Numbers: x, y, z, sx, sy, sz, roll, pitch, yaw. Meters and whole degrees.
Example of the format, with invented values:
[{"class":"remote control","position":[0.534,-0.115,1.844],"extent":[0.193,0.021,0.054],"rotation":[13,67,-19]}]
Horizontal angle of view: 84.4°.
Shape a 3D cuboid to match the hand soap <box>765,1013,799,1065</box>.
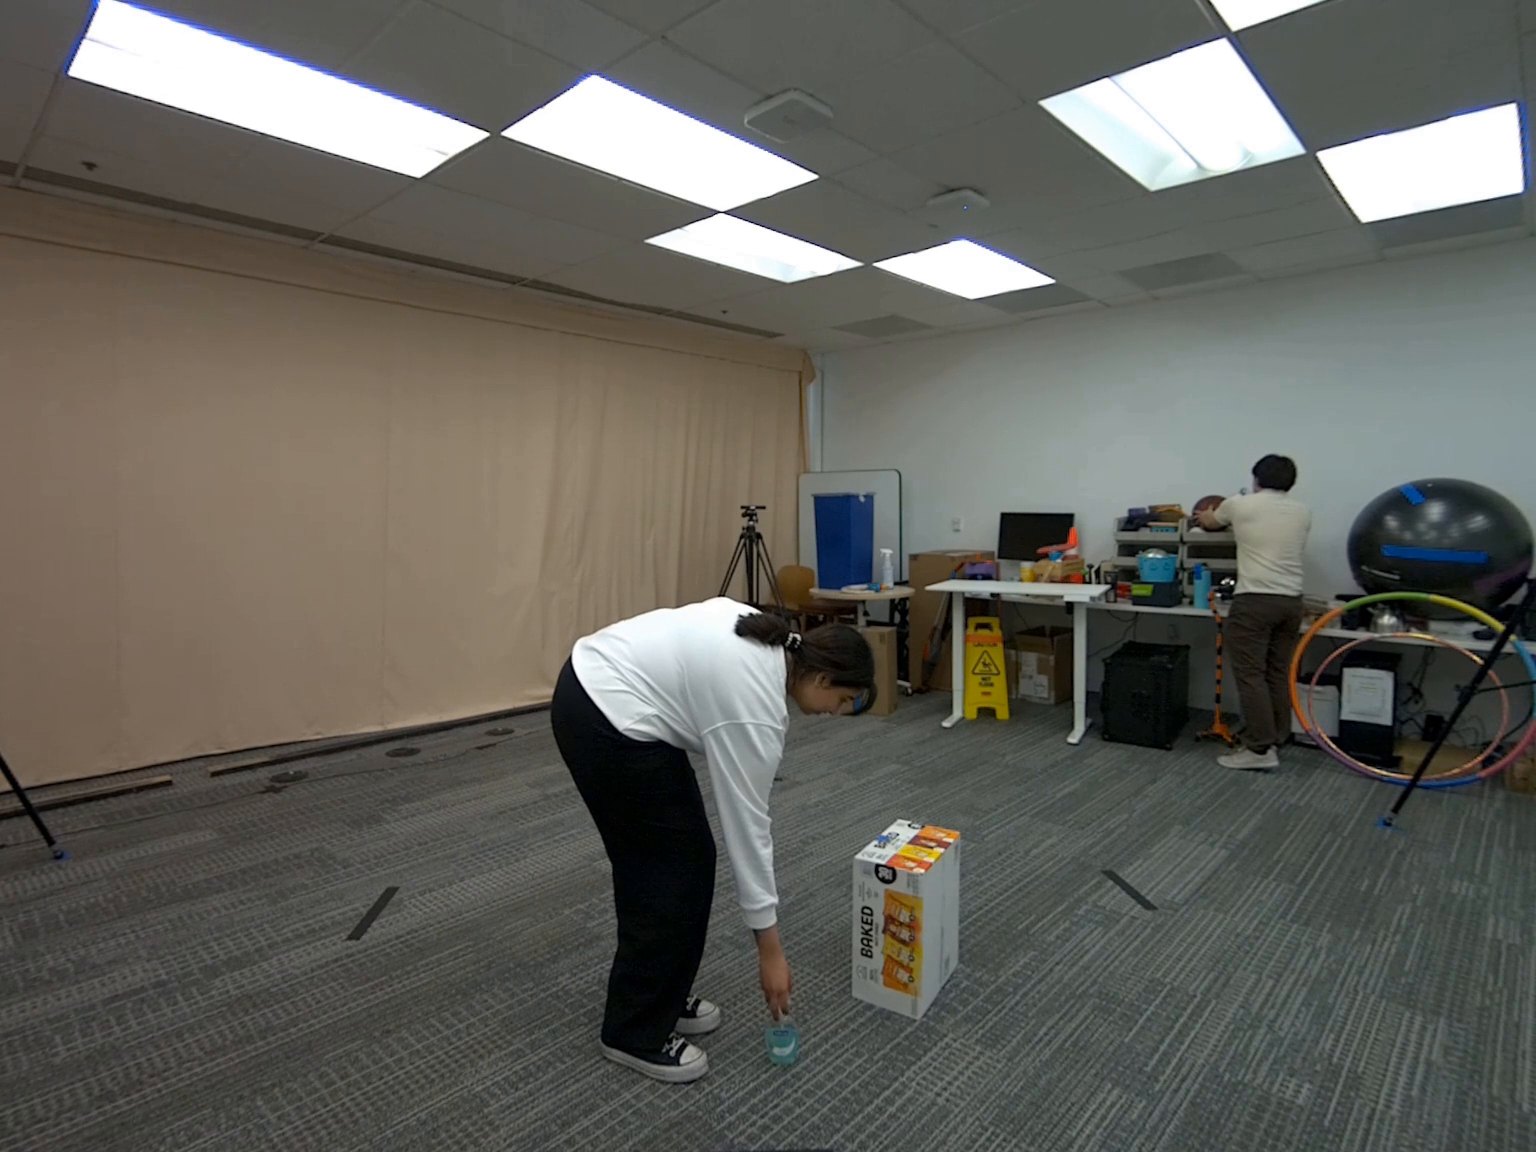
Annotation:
[{"class":"hand soap","position":[0.041,1.137,2.111],"extent":[0.085,0.168,0.043],"rotation":[1,-2,2]}]
